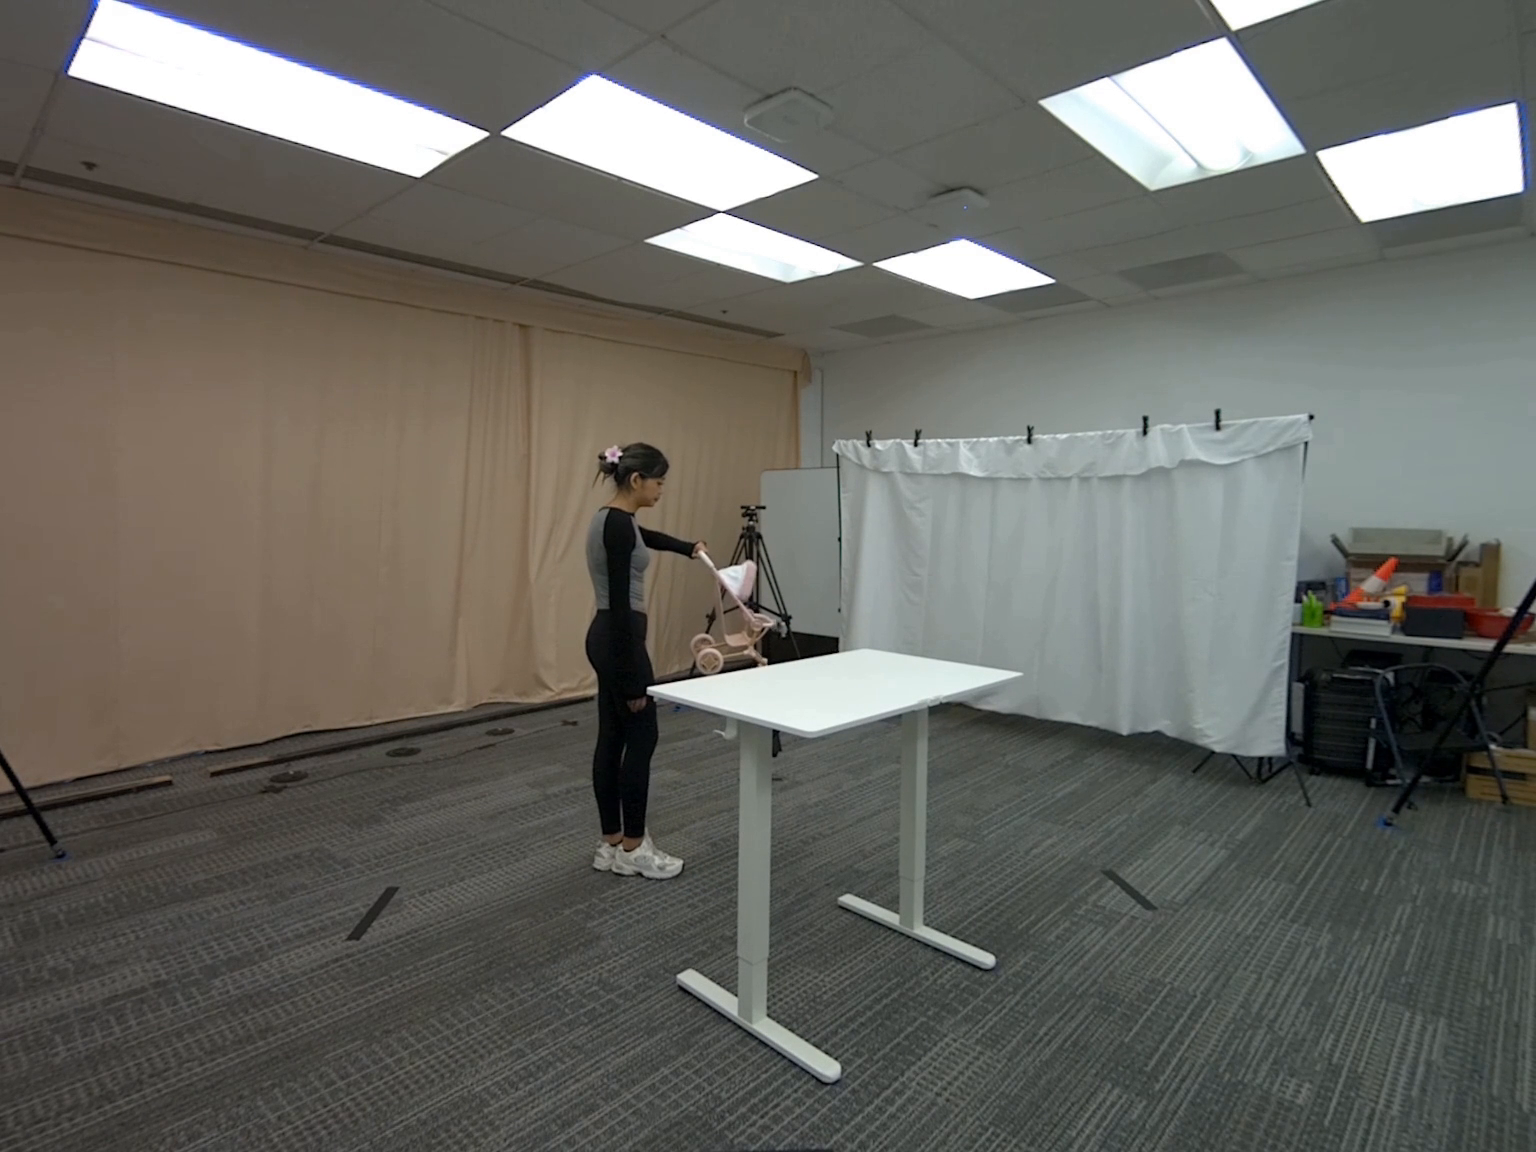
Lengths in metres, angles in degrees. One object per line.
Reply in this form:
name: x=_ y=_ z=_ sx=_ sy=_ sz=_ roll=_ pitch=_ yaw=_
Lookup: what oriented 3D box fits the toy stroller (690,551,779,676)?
toy stroller: x=-0.121 y=0.172 z=3.434 sx=0.339 sy=0.533 sz=0.284 roll=3 pitch=7 yaw=-6
